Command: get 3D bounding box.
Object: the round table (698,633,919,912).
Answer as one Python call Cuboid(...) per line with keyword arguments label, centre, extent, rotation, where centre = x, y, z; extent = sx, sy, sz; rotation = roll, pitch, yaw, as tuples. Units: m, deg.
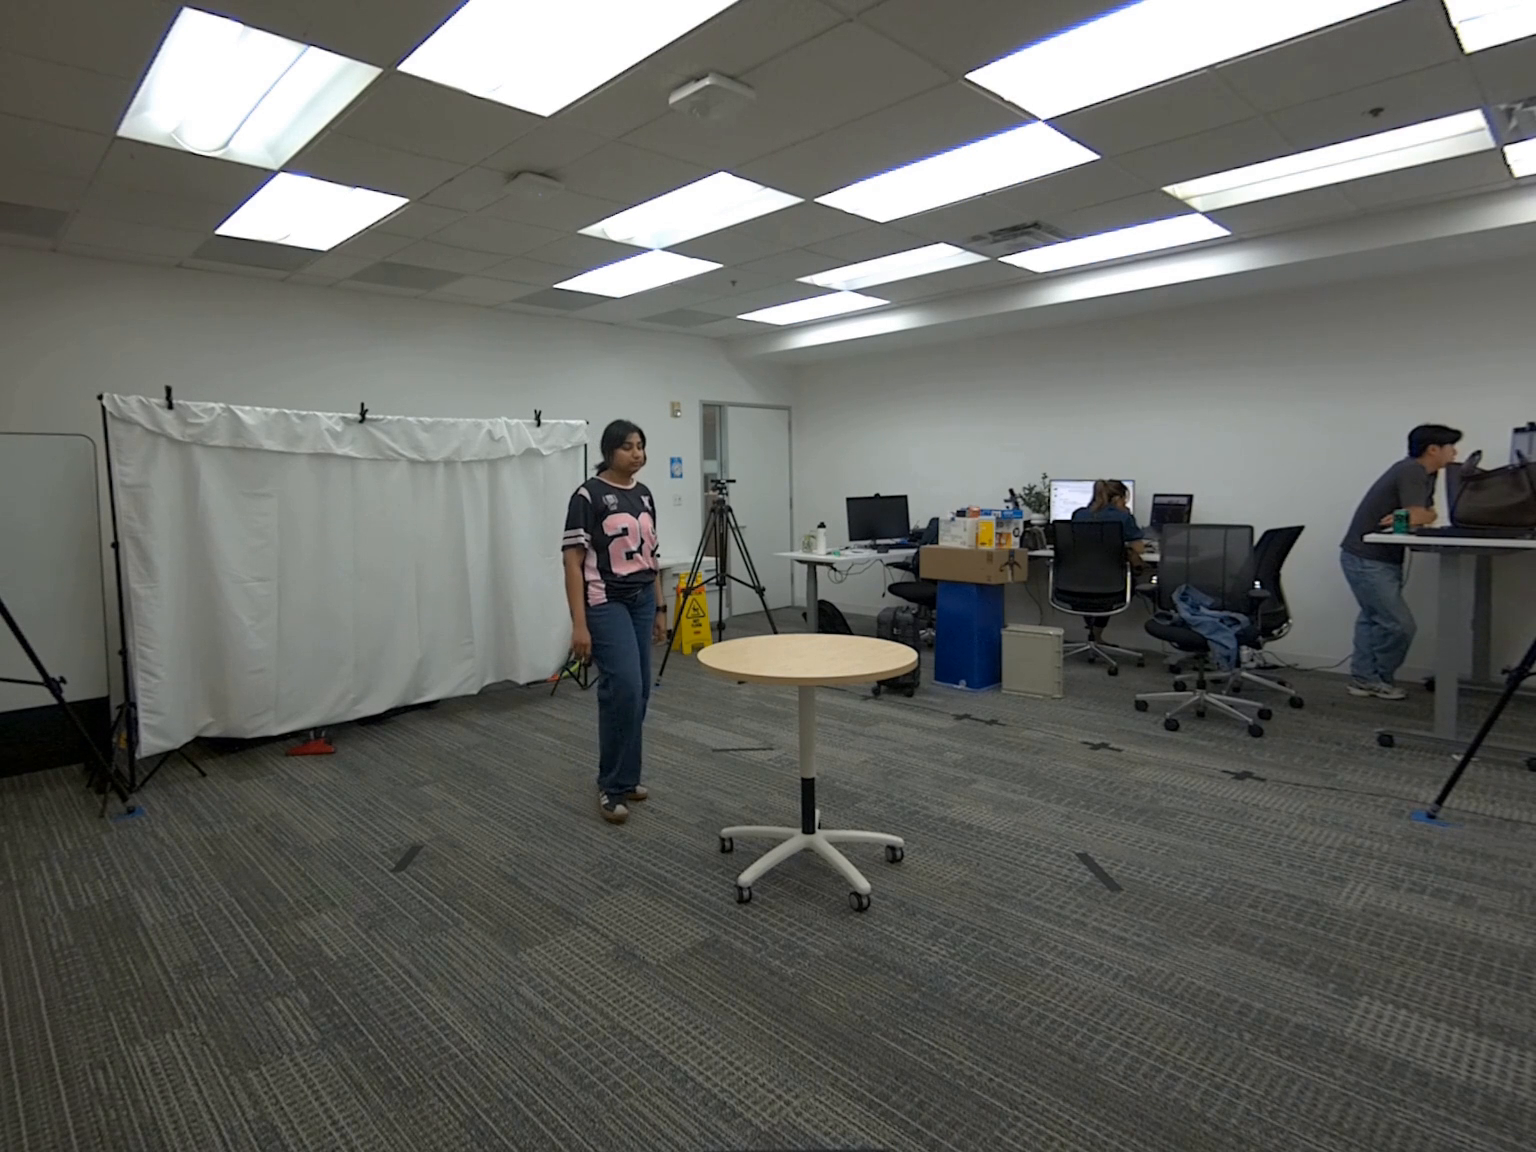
Cuboid(label="round table", centre=(0.144, 0.663, 3.011), extent=(0.784, 0.784, 0.789), rotation=(-1, 5, -2))
